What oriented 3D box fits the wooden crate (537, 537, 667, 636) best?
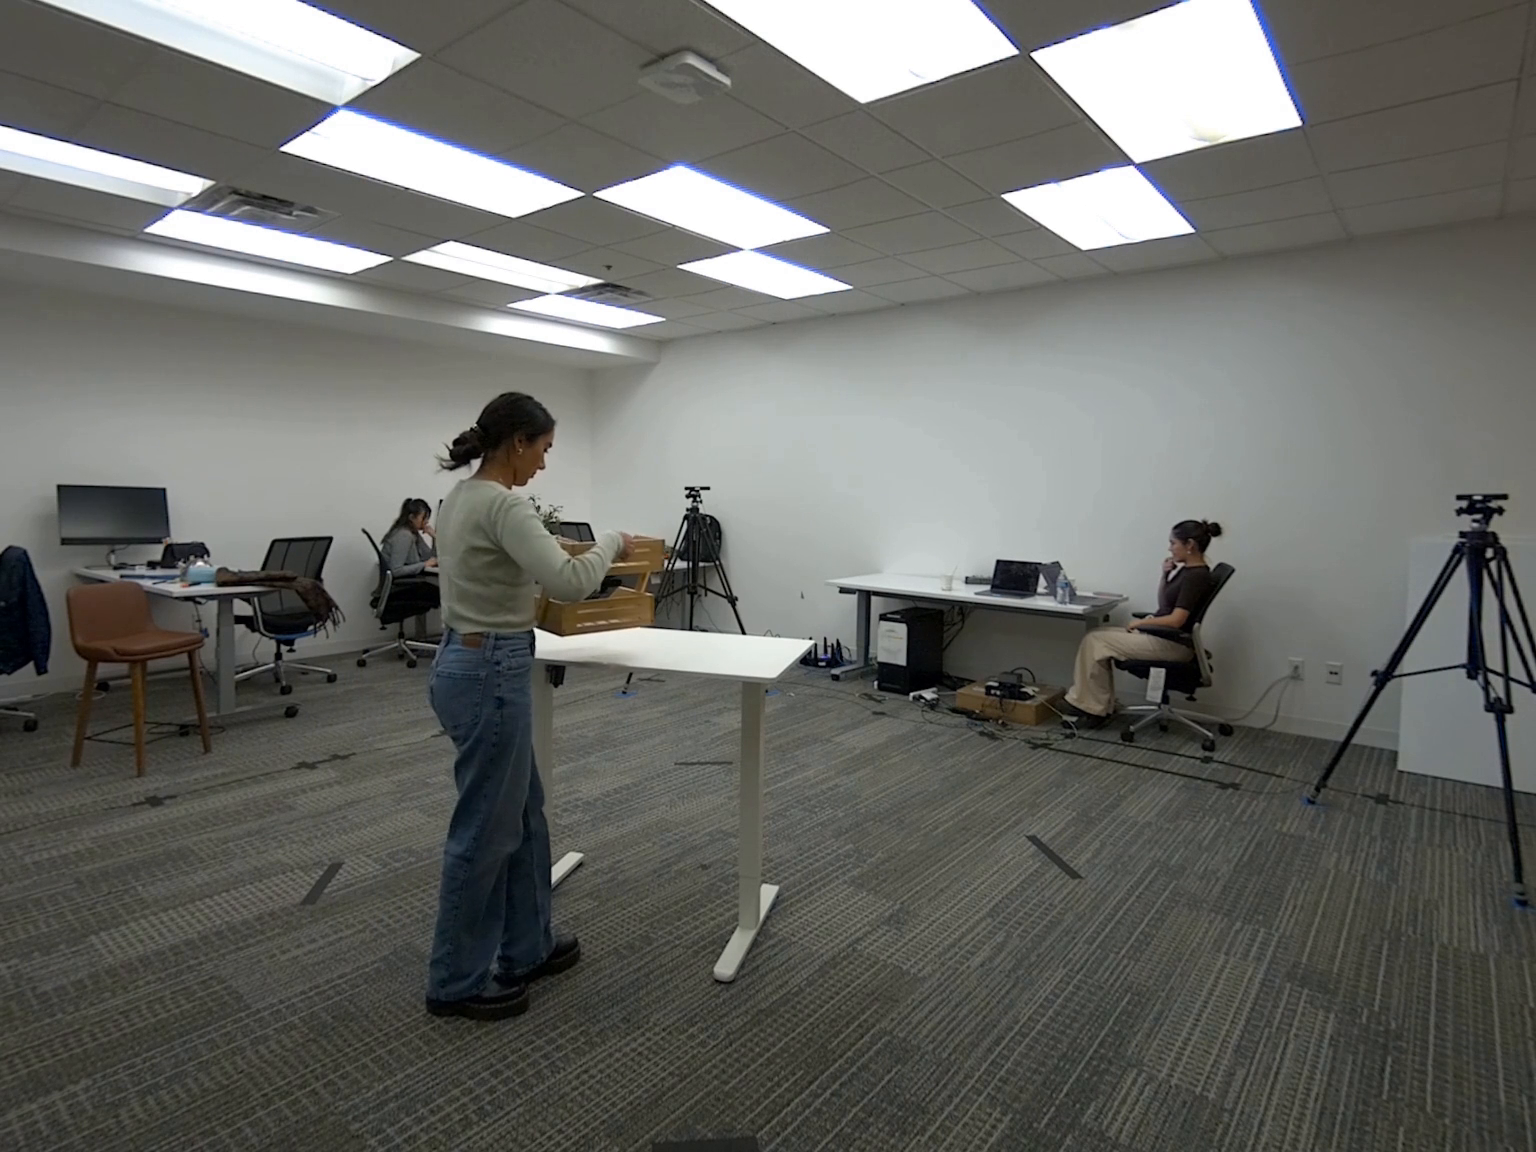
[{"bbox_3d":[-0.526,0.008,2.474,0.315,0.272,0.313,-4,9,-41],"label":"wooden crate"}]
